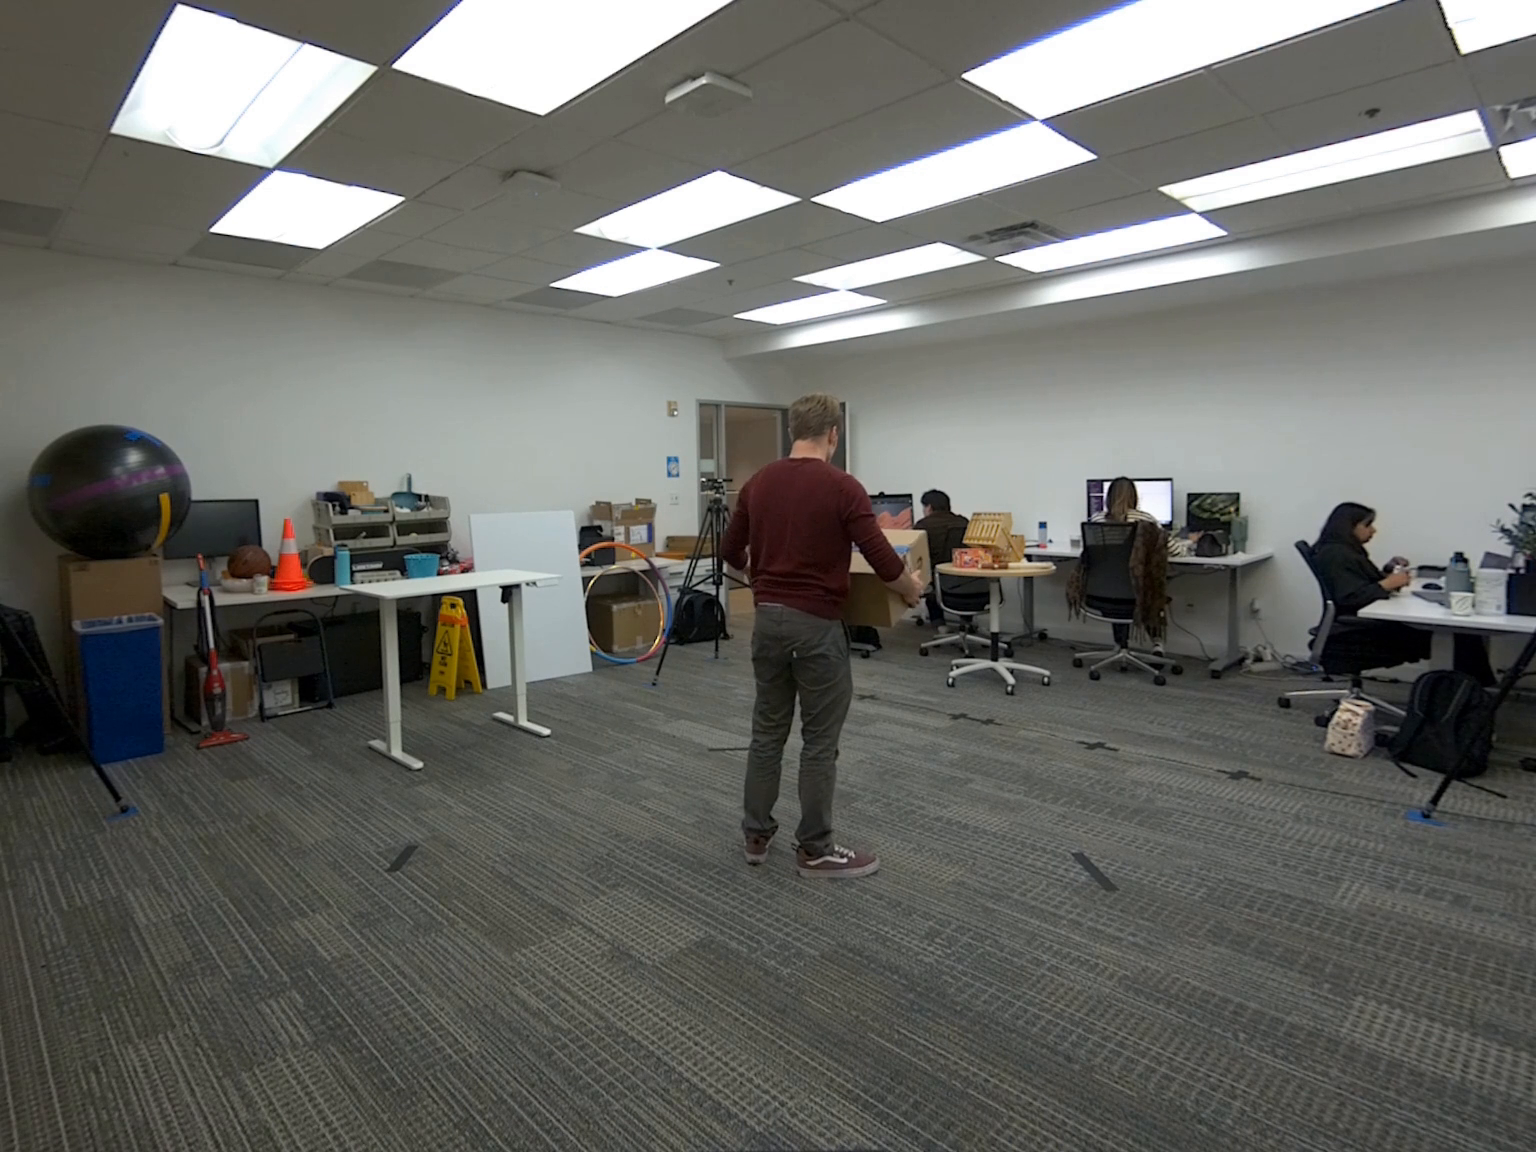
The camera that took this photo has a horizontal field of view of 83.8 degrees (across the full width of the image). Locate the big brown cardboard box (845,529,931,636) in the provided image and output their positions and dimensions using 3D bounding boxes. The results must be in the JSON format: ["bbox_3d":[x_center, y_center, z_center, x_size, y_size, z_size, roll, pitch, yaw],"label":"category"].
[{"bbox_3d":[0.282,-0.008,3.315,0.606,0.228,0.414,5,25,32],"label":"big brown cardboard box"}]
